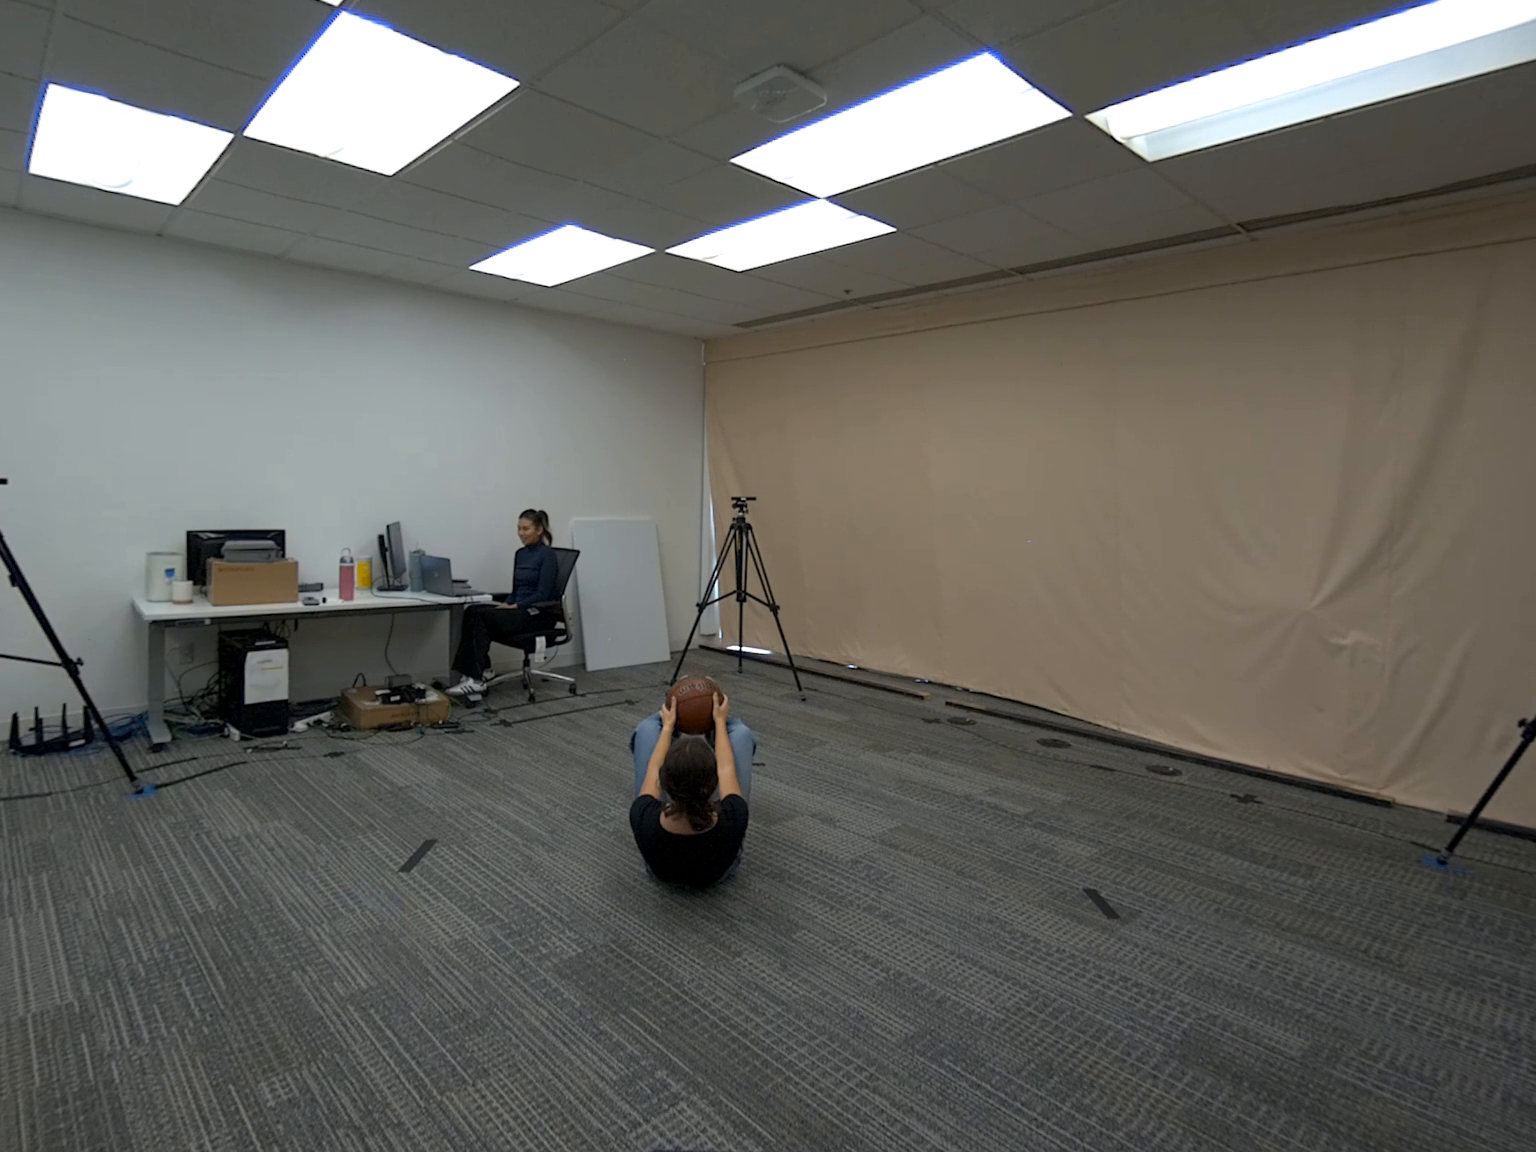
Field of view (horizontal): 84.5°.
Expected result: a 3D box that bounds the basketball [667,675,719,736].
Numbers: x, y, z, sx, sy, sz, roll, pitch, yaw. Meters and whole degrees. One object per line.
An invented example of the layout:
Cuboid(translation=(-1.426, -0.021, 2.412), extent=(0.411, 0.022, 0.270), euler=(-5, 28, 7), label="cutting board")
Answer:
Cuboid(translation=(-0.300, 0.519, 3.391), extent=(0.236, 0.235, 0.237), euler=(1, 4, -1), label="basketball")
